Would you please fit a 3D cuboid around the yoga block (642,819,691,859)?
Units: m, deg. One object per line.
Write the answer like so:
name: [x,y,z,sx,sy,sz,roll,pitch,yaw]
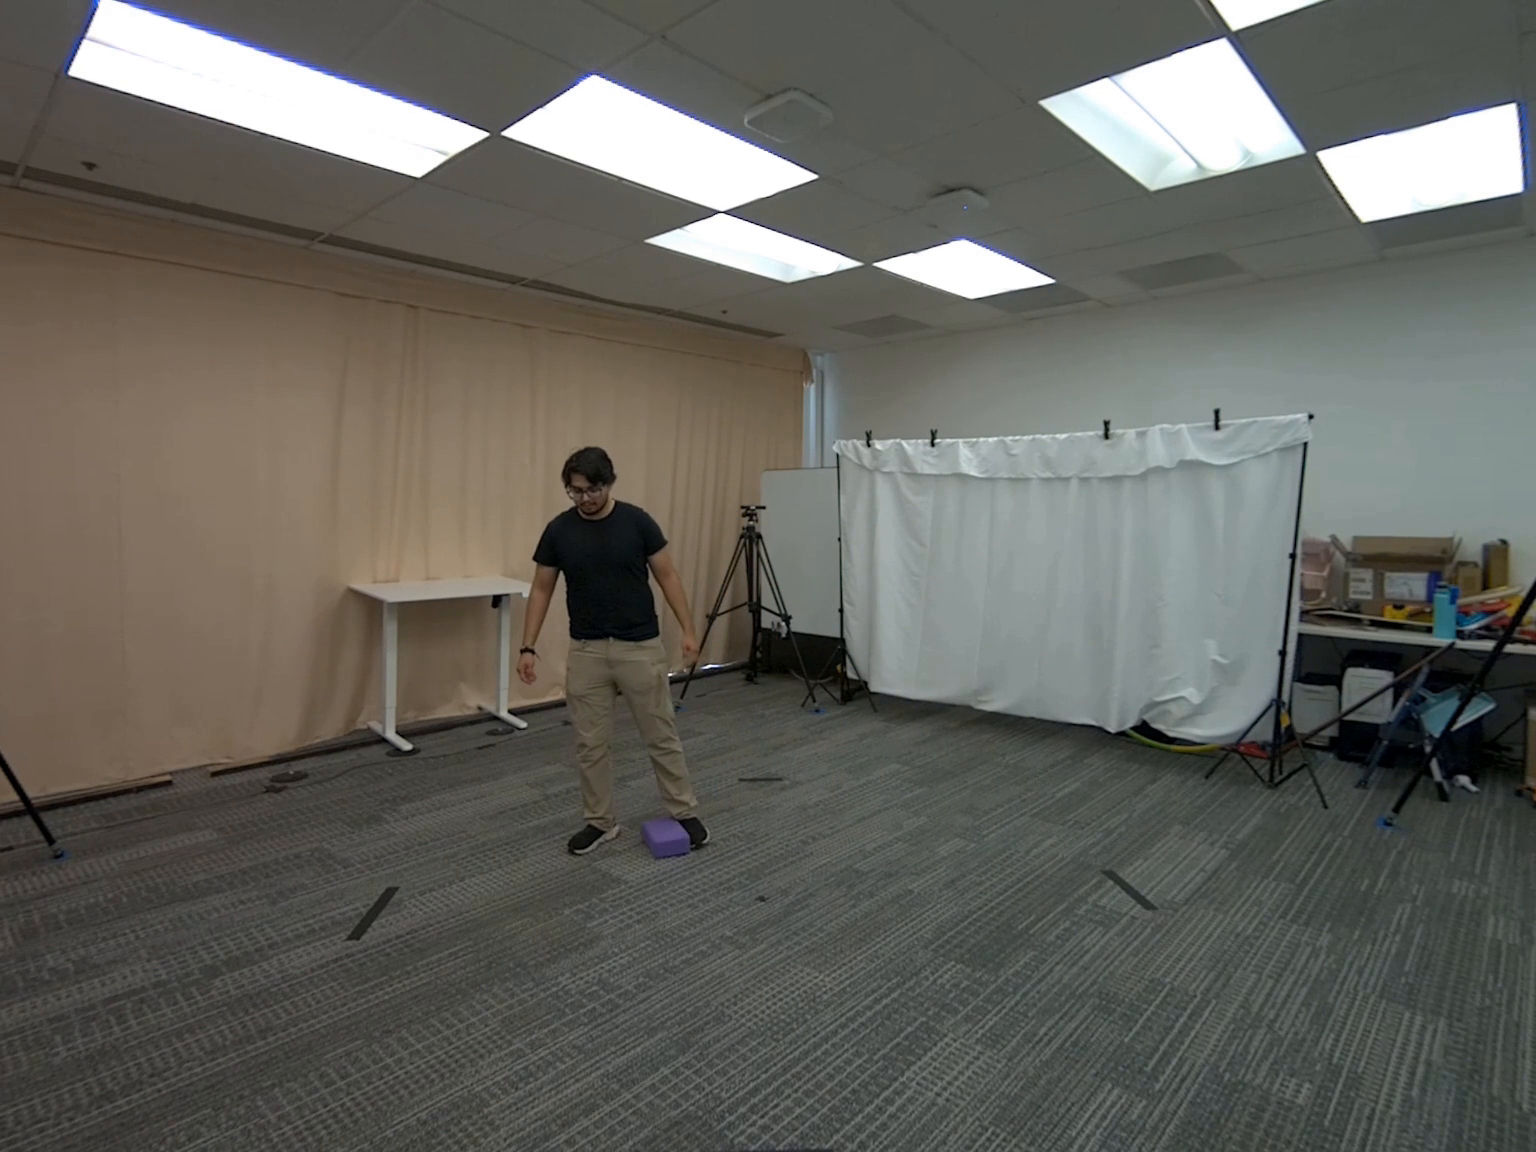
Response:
yoga block: [-0.425,1.065,3.441,0.146,0.076,0.234,-3,5,-20]
